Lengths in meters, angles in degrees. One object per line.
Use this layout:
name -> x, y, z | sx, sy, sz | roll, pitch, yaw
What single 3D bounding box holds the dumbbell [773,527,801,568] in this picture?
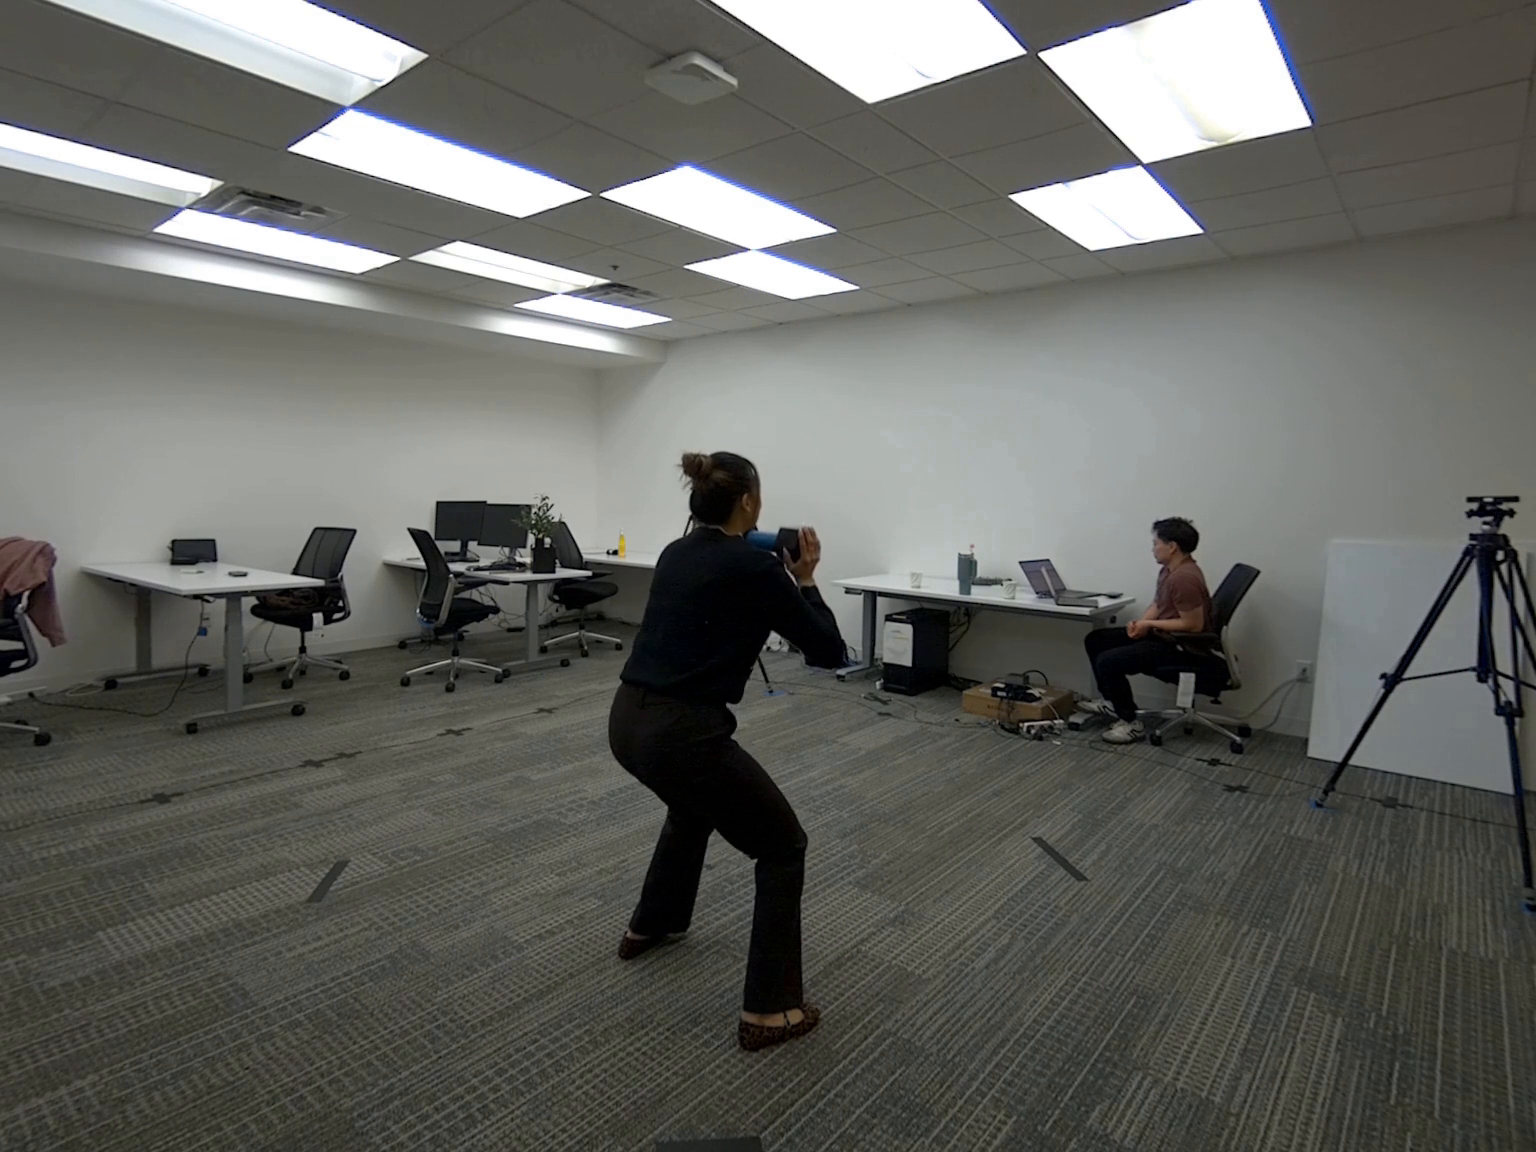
dumbbell -> -0.012, -0.100, 2.490 | 0.304, 0.119, 0.108 | 6, 42, 43
